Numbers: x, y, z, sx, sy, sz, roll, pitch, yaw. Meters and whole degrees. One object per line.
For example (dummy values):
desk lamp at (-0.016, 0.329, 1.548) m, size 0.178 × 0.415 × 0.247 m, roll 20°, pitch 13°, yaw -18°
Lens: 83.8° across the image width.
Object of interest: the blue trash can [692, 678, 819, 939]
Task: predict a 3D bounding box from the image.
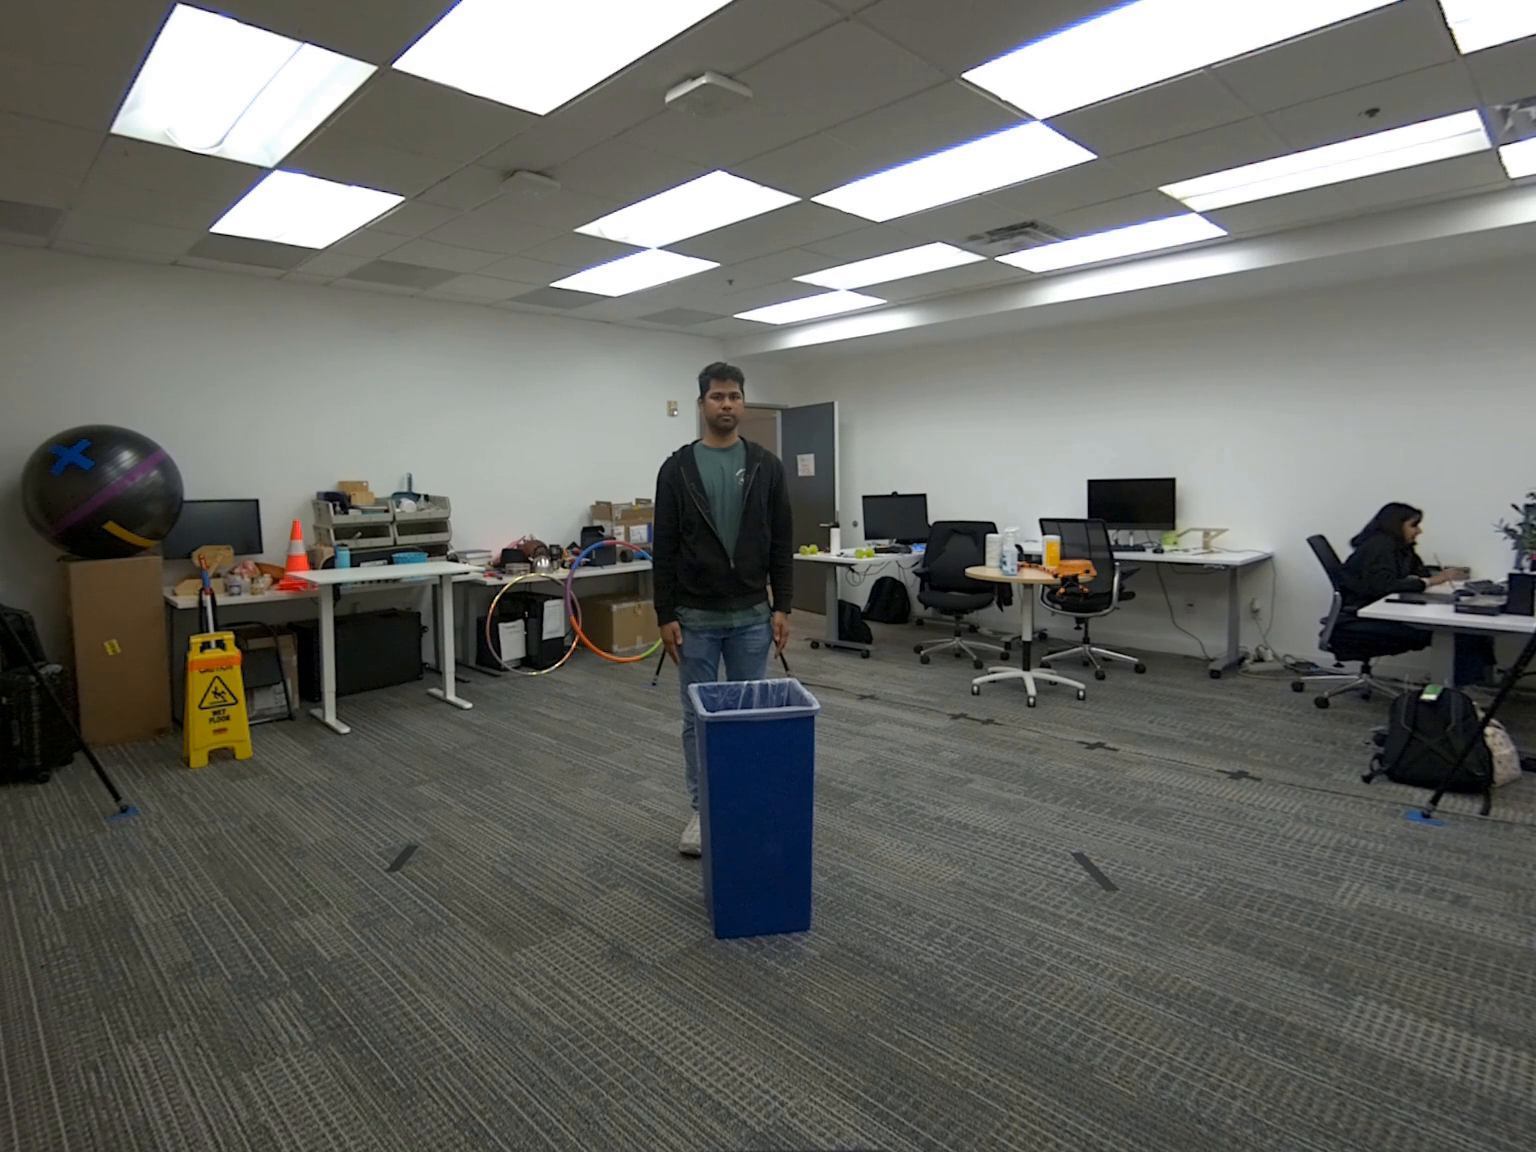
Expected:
blue trash can at (-0.046, 0.733, 2.730) m, size 0.375 × 0.710 × 0.379 m, roll -2°, pitch 5°, yaw -10°
